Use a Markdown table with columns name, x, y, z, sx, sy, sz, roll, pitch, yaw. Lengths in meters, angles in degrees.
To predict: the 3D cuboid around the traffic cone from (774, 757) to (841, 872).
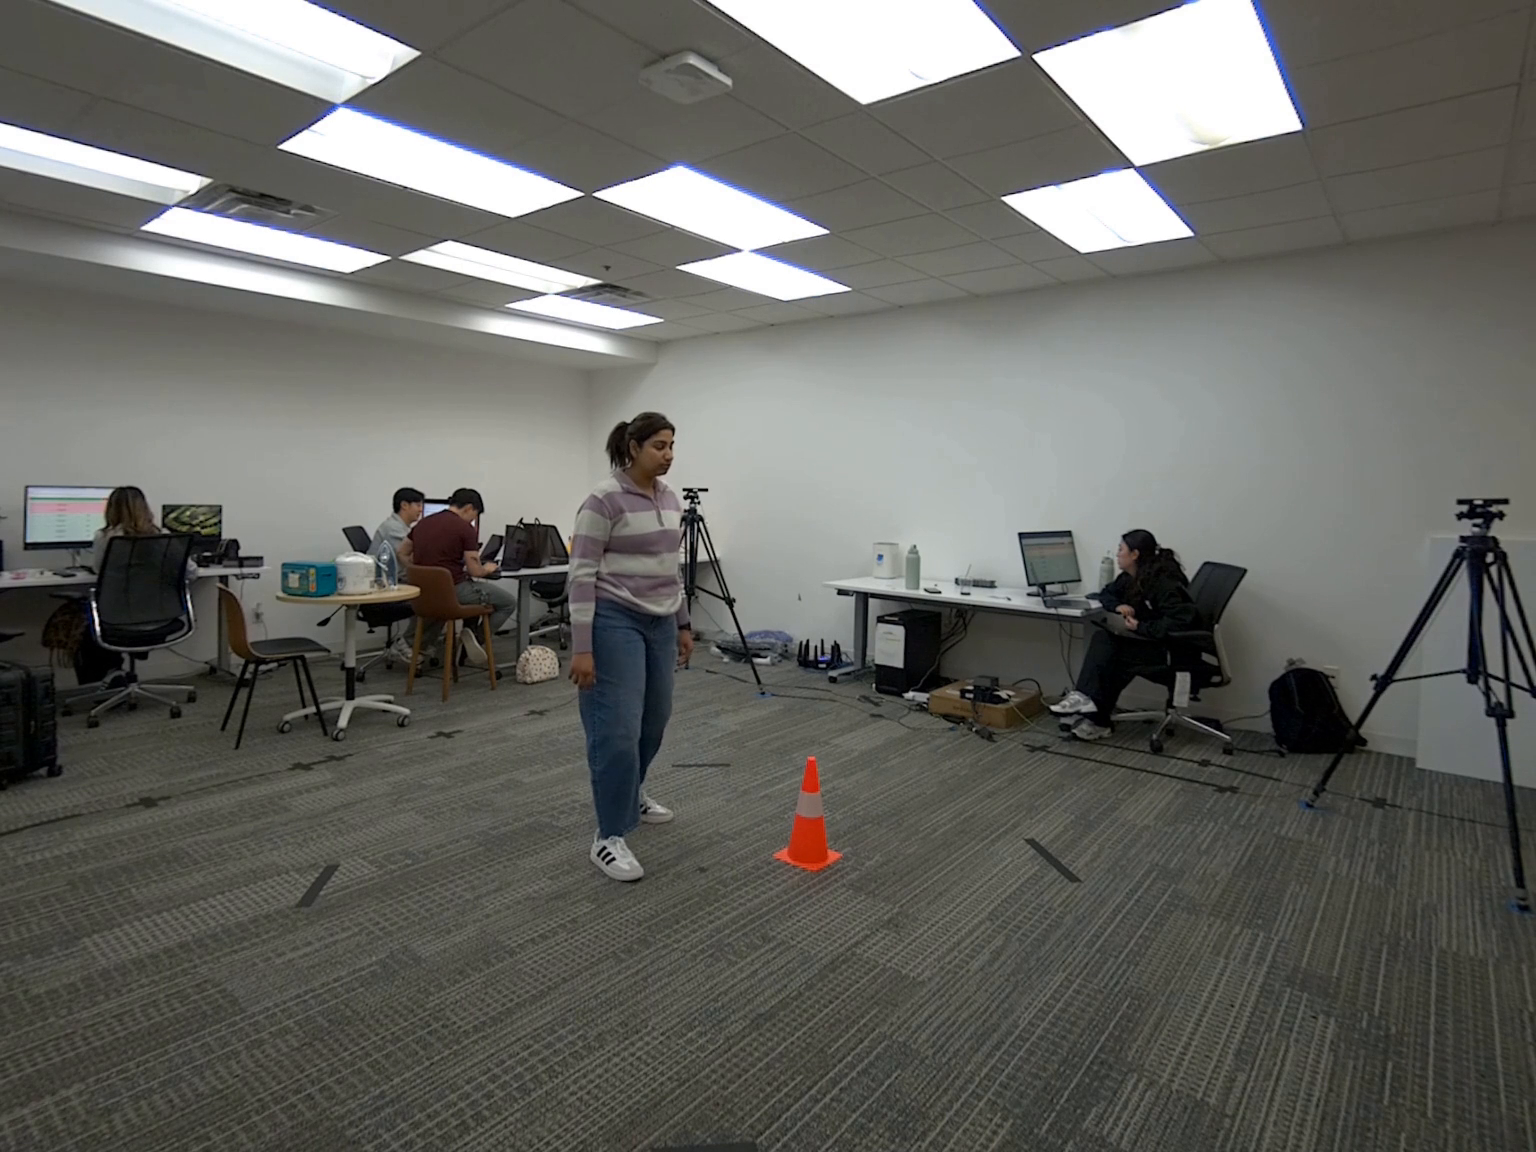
| name | x | y | z | sx | sy | sz | roll | pitch | yaw |
| --- | --- | --- | --- | --- | --- | --- | --- | --- | --- |
| traffic cone | 0.144 | 0.883 | 3.236 | 0.210 | 0.383 | 0.199 | 3 | 4 | 37 |
